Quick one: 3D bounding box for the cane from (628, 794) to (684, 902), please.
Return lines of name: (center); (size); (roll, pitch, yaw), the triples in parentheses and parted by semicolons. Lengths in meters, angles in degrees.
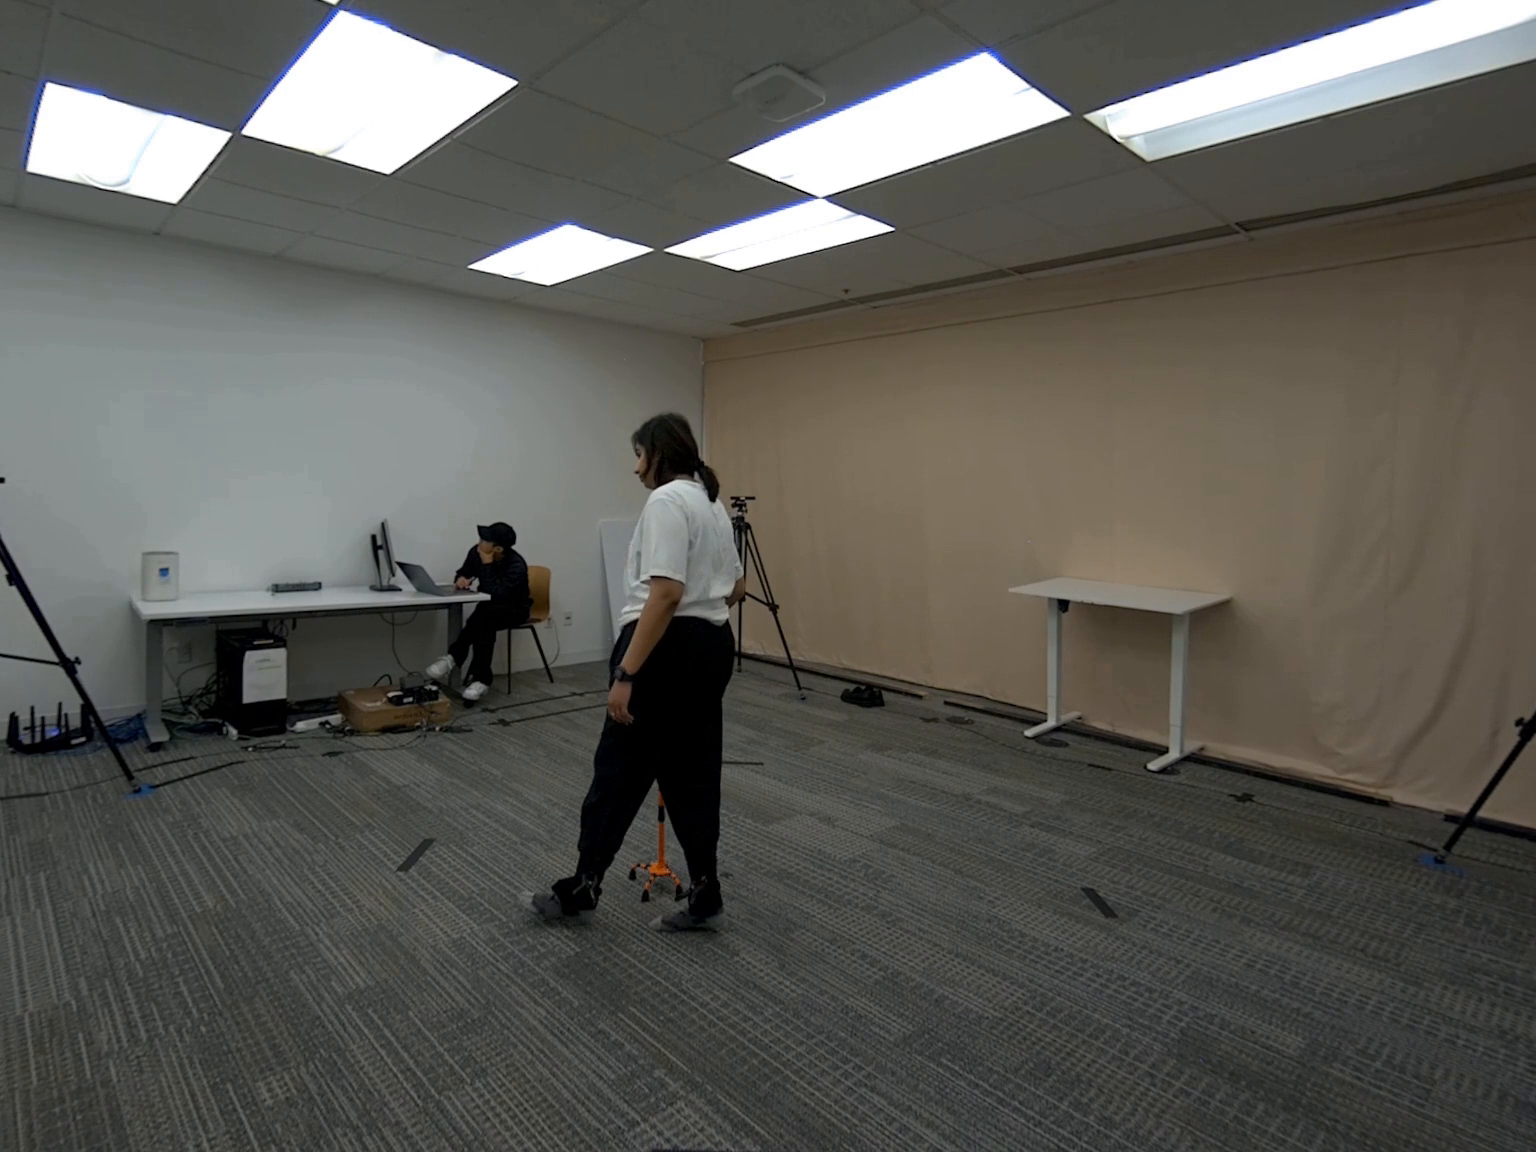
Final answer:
cane: (-0.408, 0.660, 2.988); (0.149, 0.907, 0.210); (-1, 1, -24)
